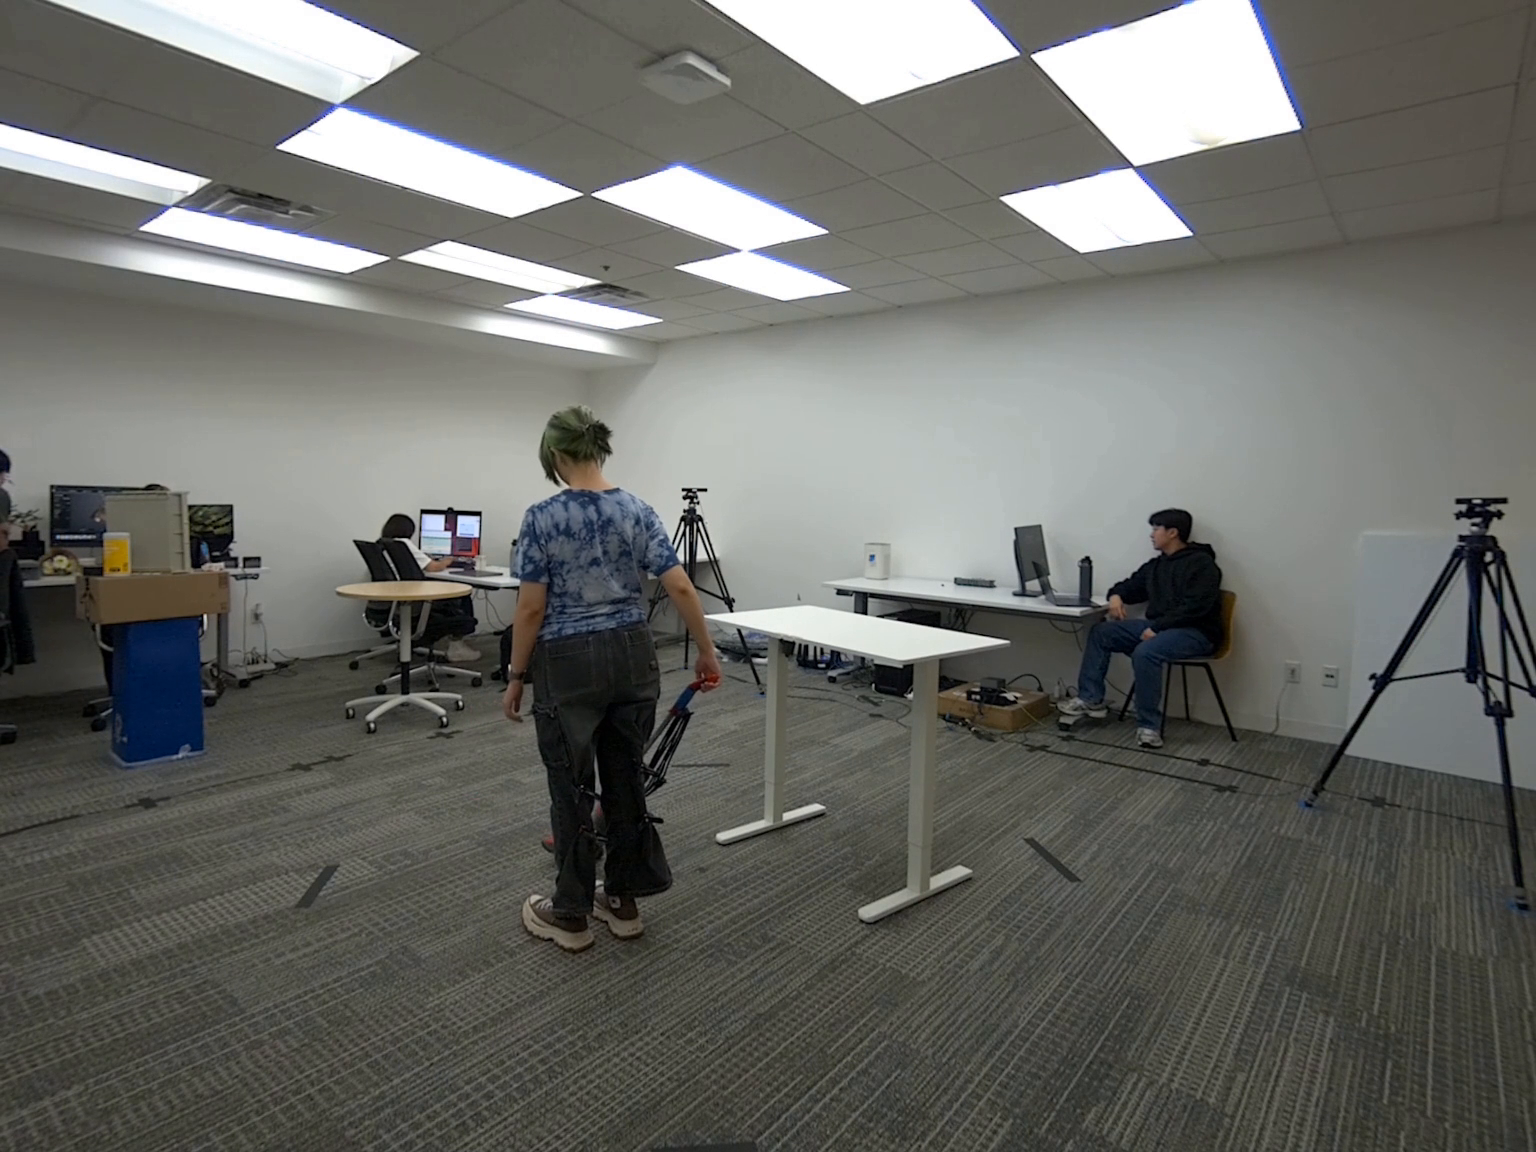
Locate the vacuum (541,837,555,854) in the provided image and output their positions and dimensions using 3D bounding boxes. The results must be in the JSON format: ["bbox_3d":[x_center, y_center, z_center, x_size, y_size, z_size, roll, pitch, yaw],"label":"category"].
[{"bbox_3d":[-0.460,0.681,2.919,0.245,0.148,1.045,-7,-36,-48],"label":"vacuum"}]
